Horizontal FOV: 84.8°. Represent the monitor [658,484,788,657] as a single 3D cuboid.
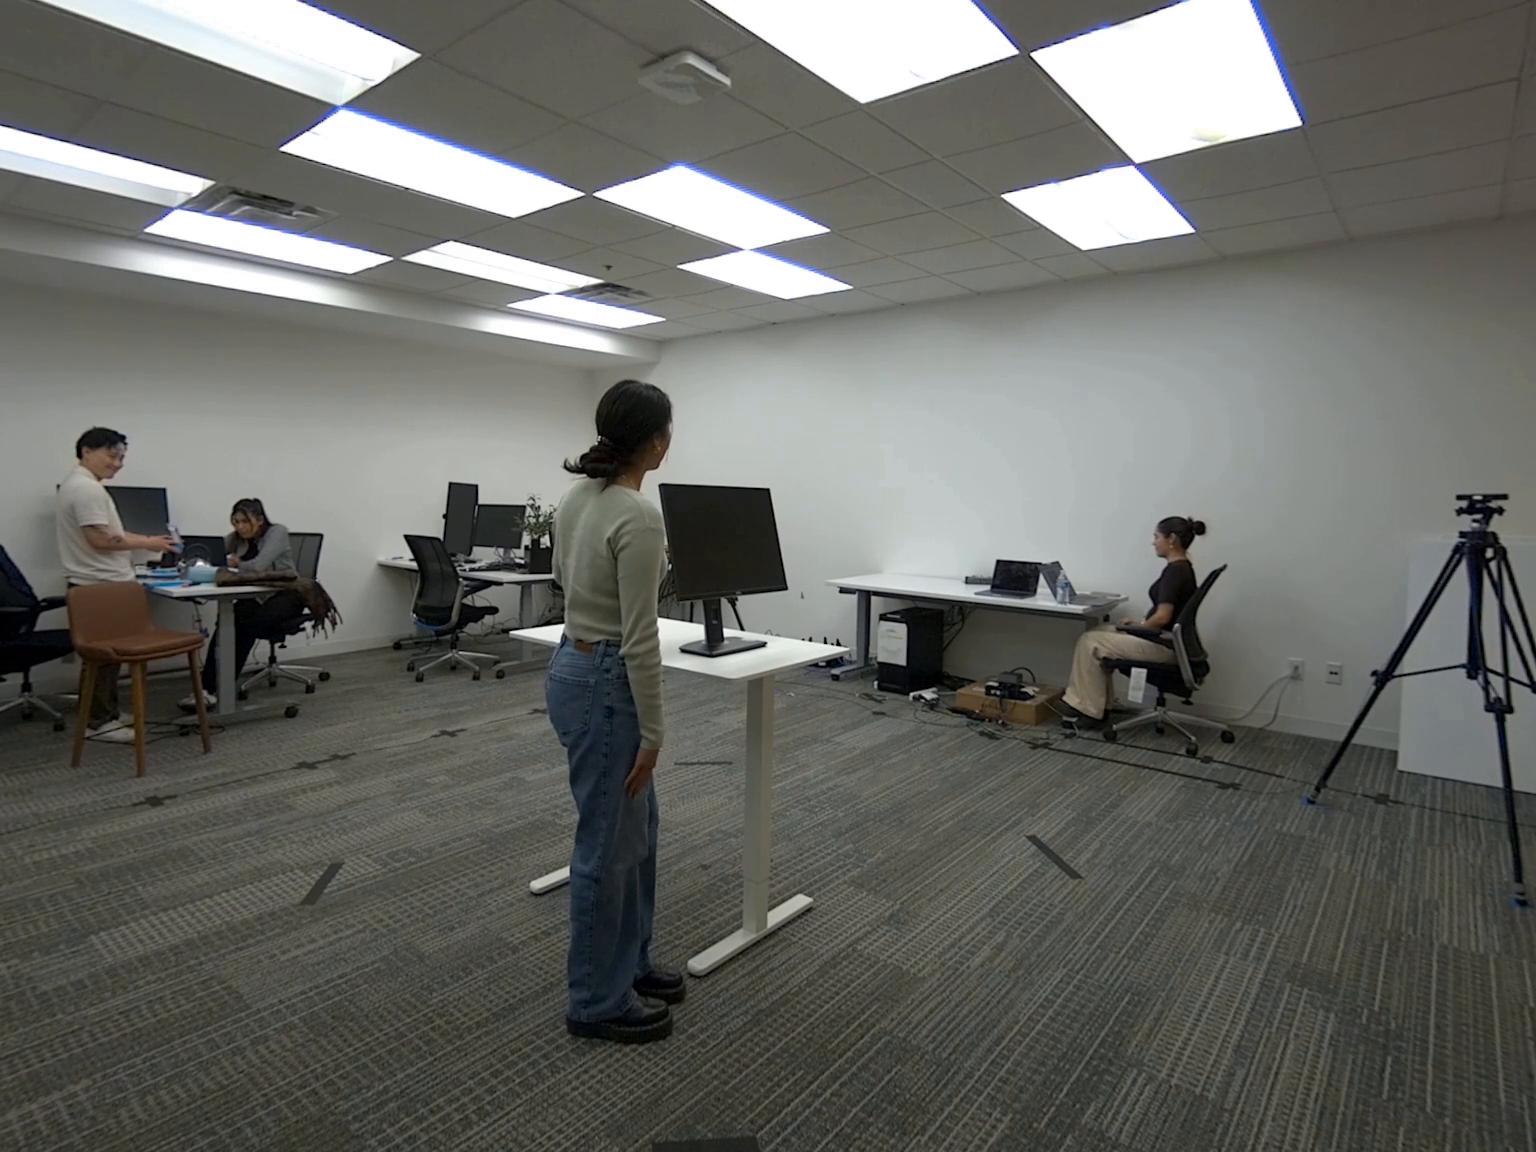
[{"bbox_3d":[-0.158,-0.025,2.686,0.193,0.522,0.523,1,2,36],"label":"monitor"}]
